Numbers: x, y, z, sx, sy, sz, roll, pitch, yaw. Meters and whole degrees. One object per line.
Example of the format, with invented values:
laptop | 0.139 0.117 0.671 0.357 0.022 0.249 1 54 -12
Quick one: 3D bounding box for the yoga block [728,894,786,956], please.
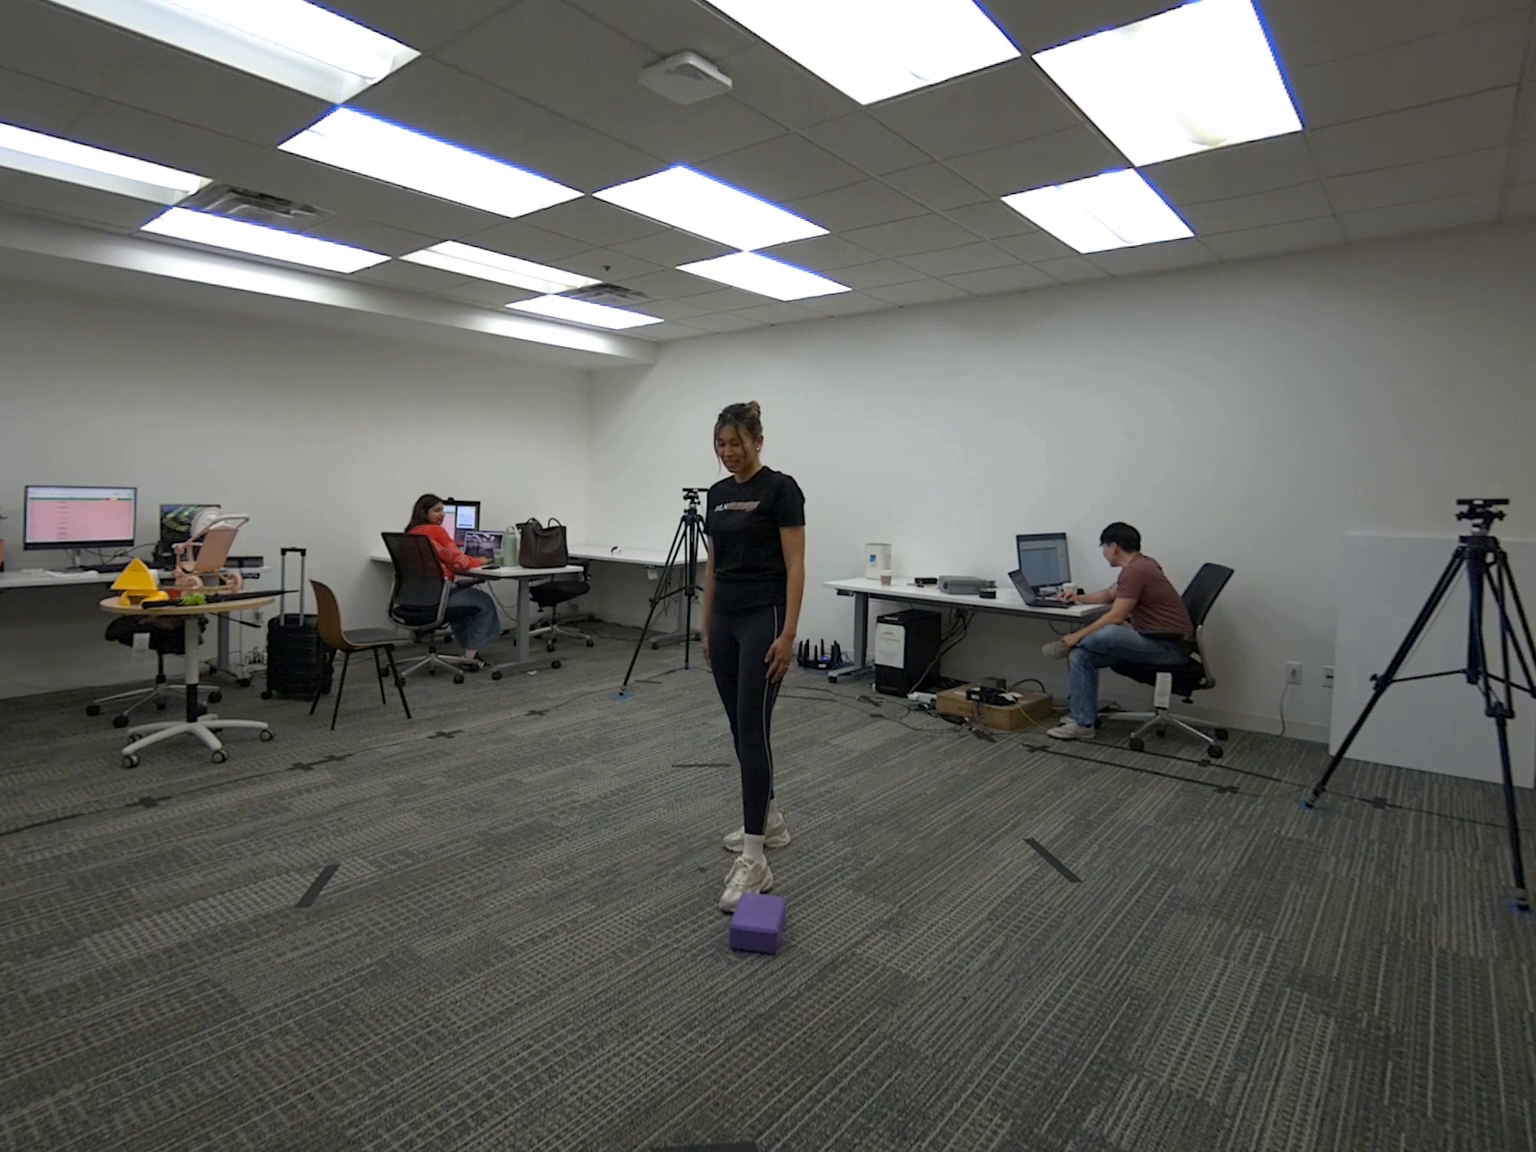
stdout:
yoga block | -0.035 1.076 2.657 0.150 0.076 0.228 2 4 8
